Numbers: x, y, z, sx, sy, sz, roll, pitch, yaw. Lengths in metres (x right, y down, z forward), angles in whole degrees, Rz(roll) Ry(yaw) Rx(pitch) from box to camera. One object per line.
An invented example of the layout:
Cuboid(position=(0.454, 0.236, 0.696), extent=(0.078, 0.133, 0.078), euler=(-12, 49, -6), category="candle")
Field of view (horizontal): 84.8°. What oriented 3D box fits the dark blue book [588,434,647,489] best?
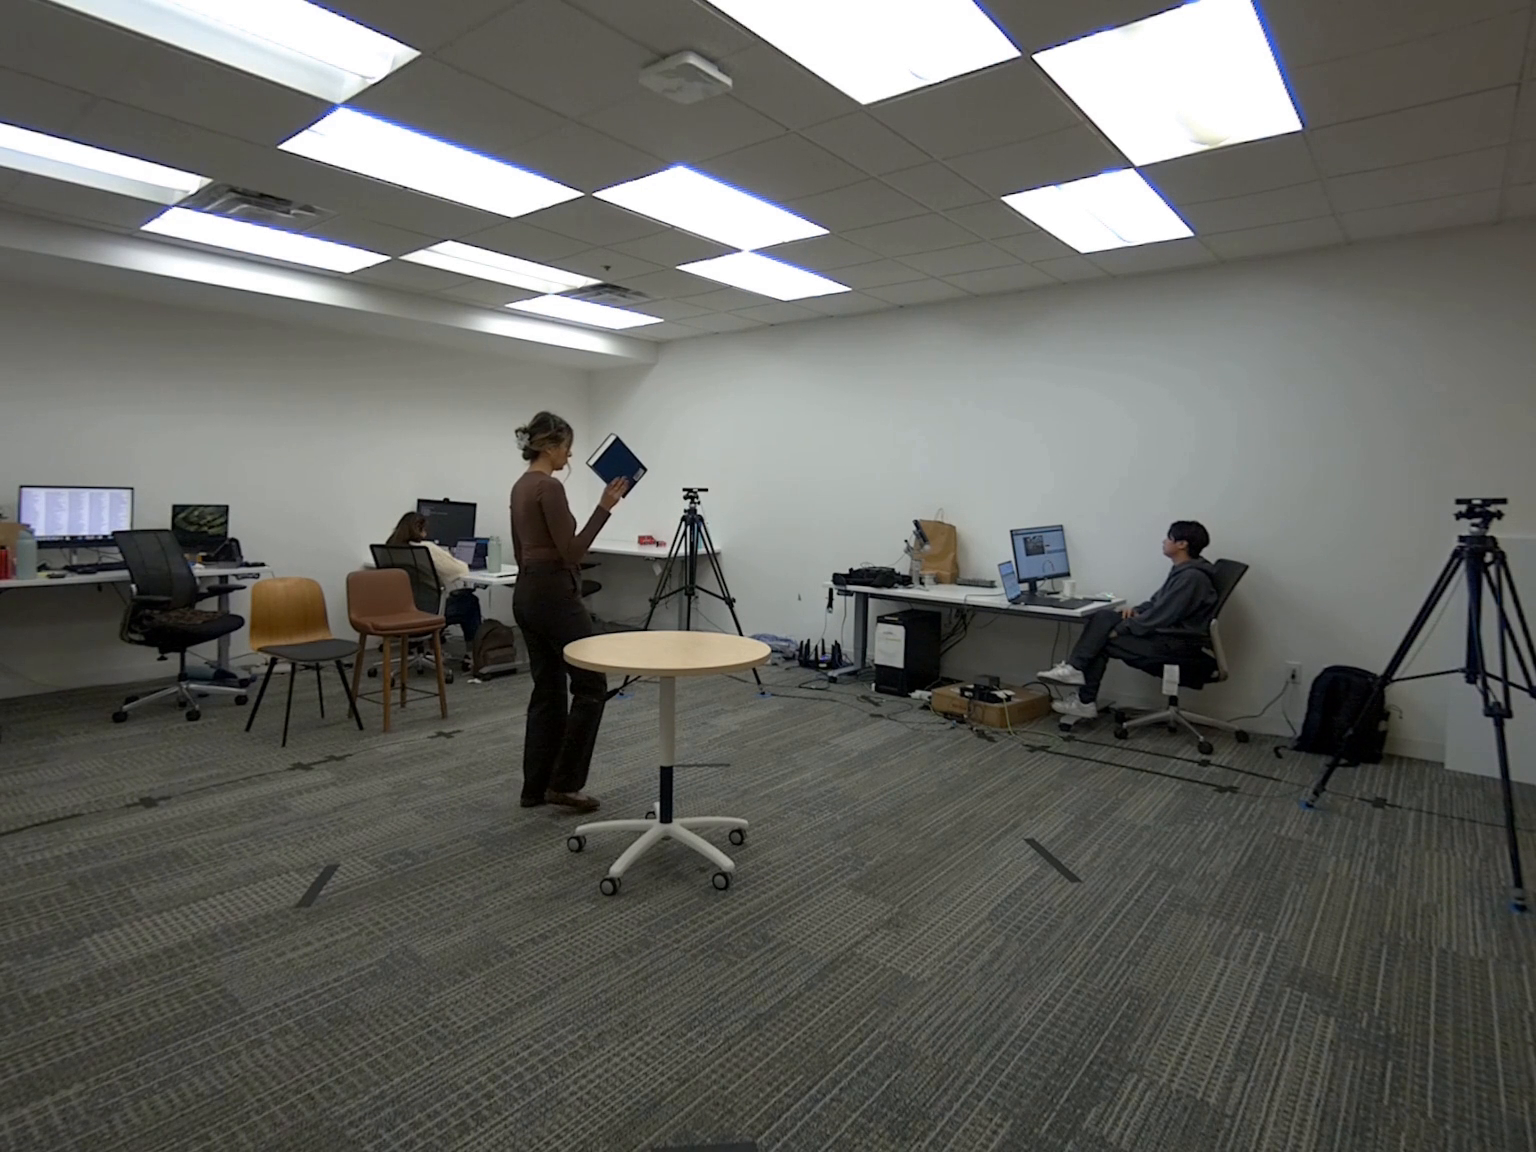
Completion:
Cuboid(position=(-0.626, -0.451, 3.468), extent=(0.047, 0.163, 0.235), euler=(33, -11, 38), category="dark blue book")
